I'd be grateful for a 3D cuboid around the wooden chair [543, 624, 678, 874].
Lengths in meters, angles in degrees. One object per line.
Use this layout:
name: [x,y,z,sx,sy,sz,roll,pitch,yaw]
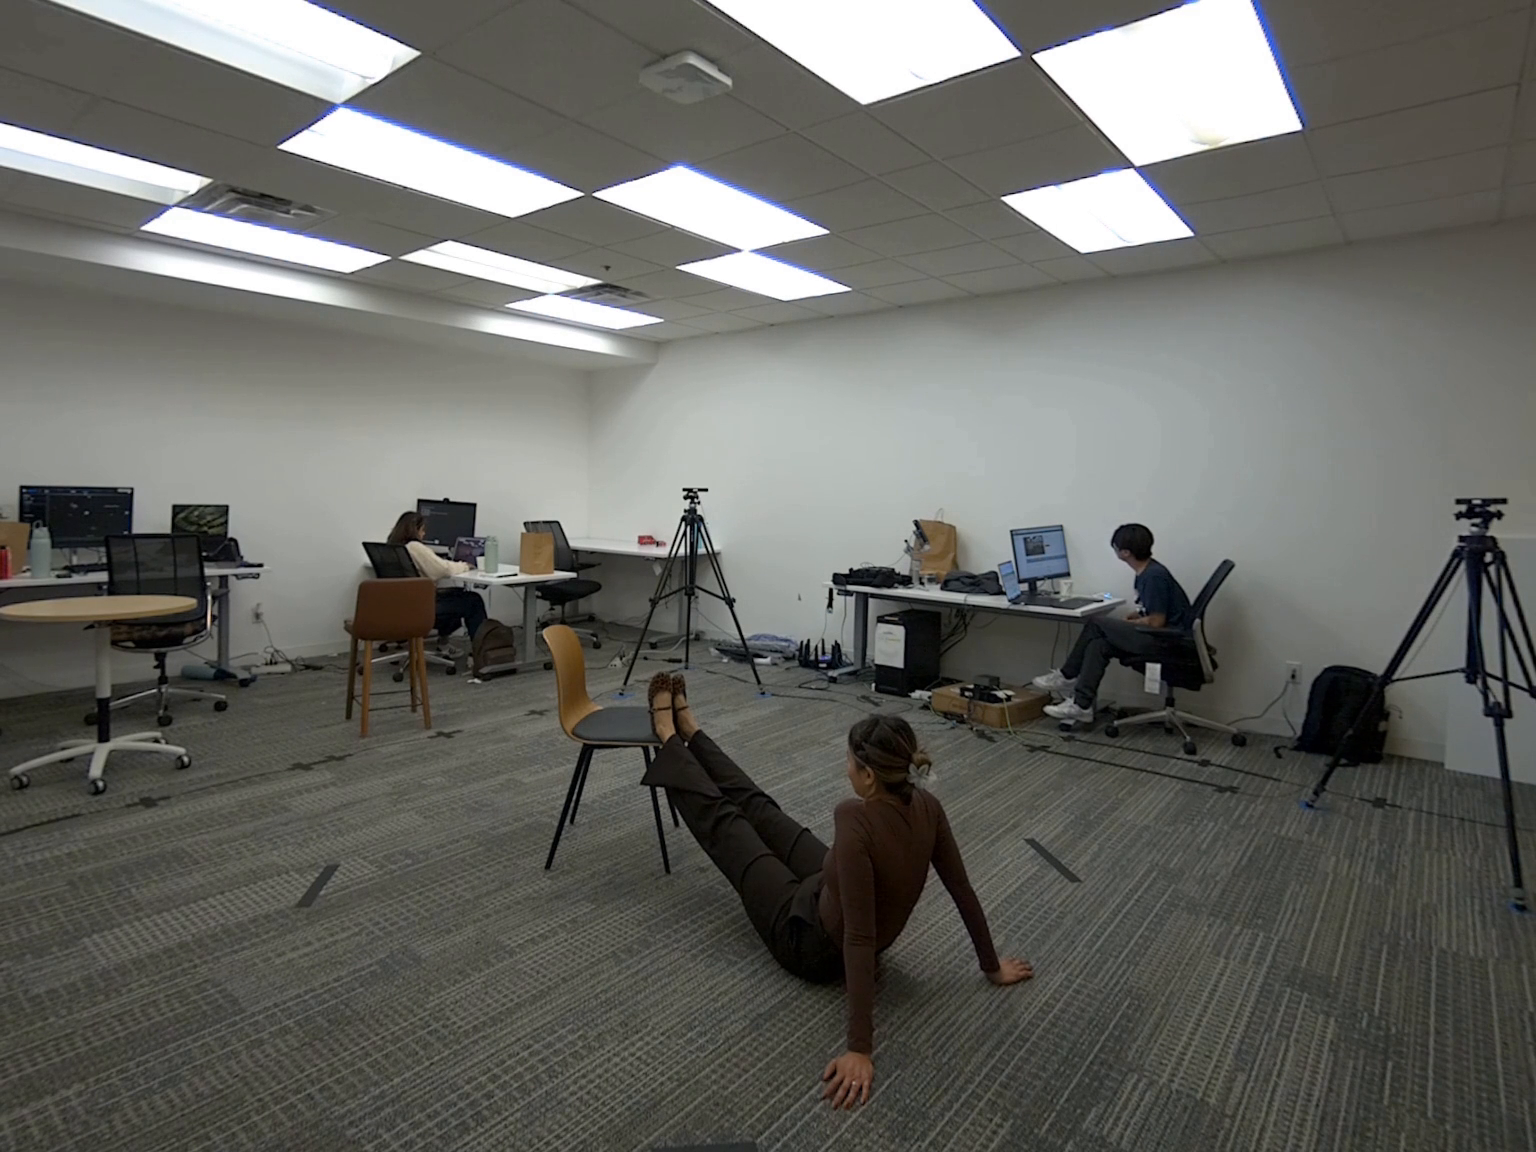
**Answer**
wooden chair: [-0.585,0.621,3.267,0.524,0.875,0.479,-3,3,1]
